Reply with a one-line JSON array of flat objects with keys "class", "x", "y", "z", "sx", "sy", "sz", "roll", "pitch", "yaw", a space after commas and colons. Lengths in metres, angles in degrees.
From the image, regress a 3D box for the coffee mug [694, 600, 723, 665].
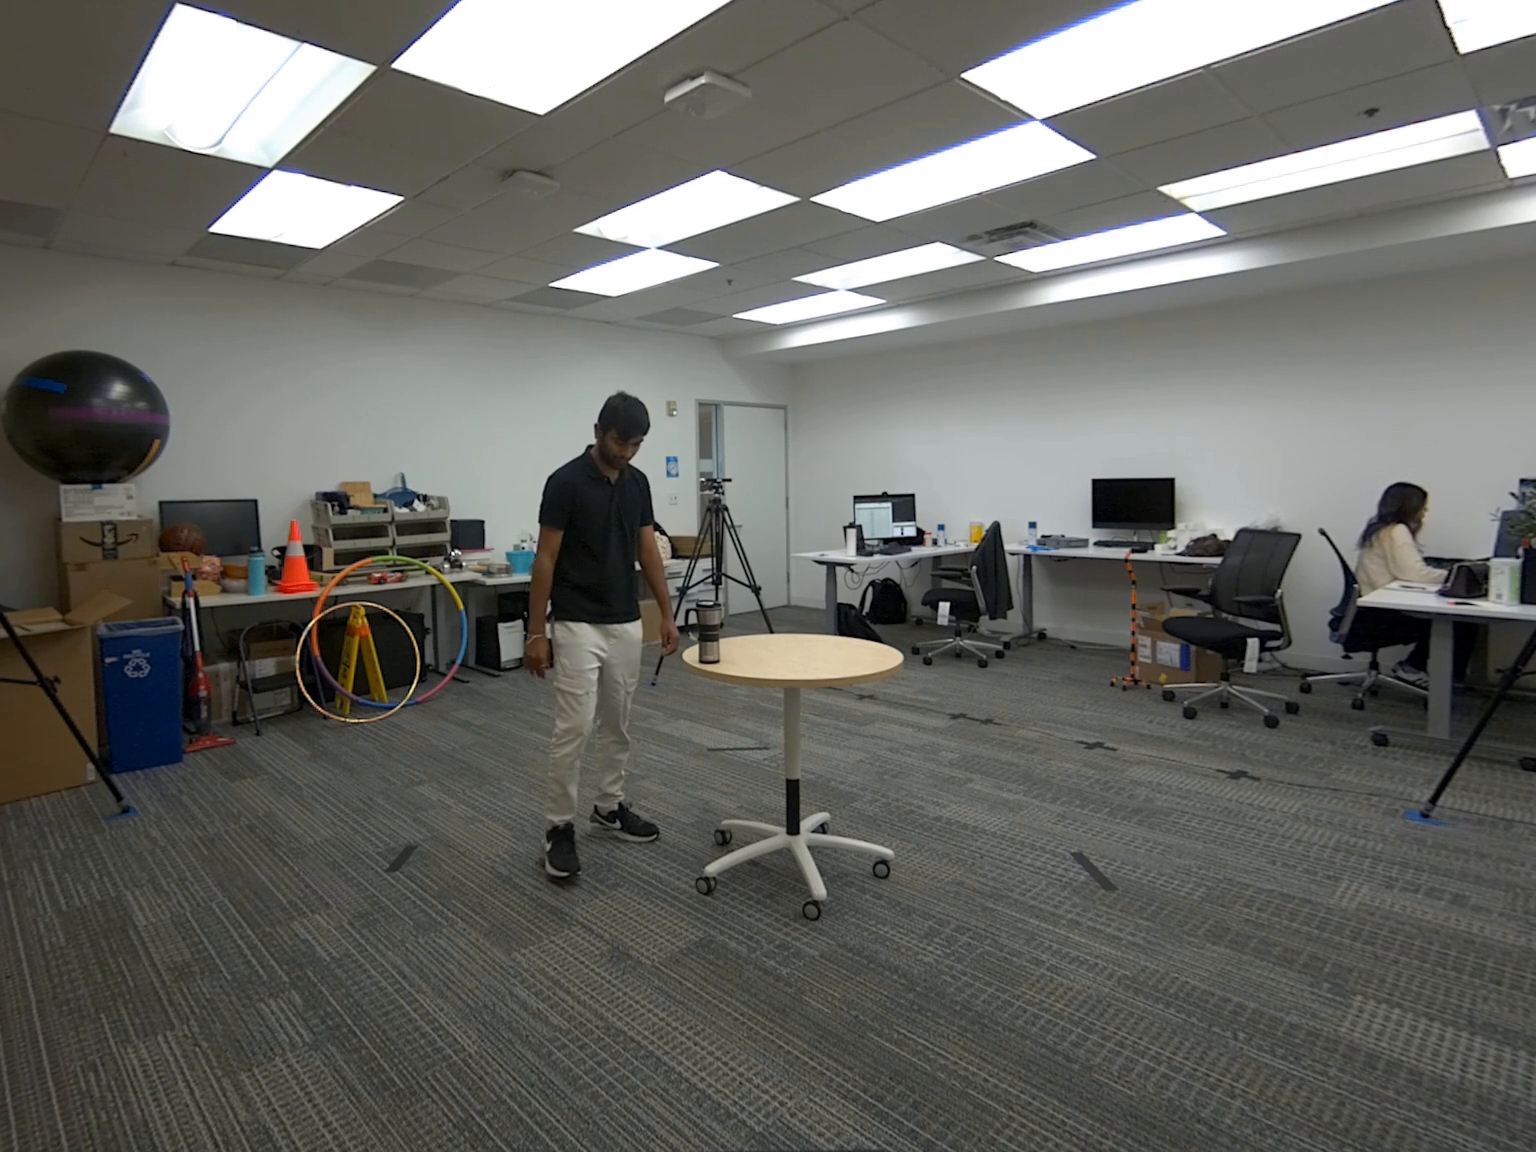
[{"class": "coffee mug", "x": -0.215, "y": 0.186, "z": 2.866, "sx": 0.125, "sy": 0.201, "sz": 0.086, "roll": 7, "pitch": 9, "yaw": 28}]
